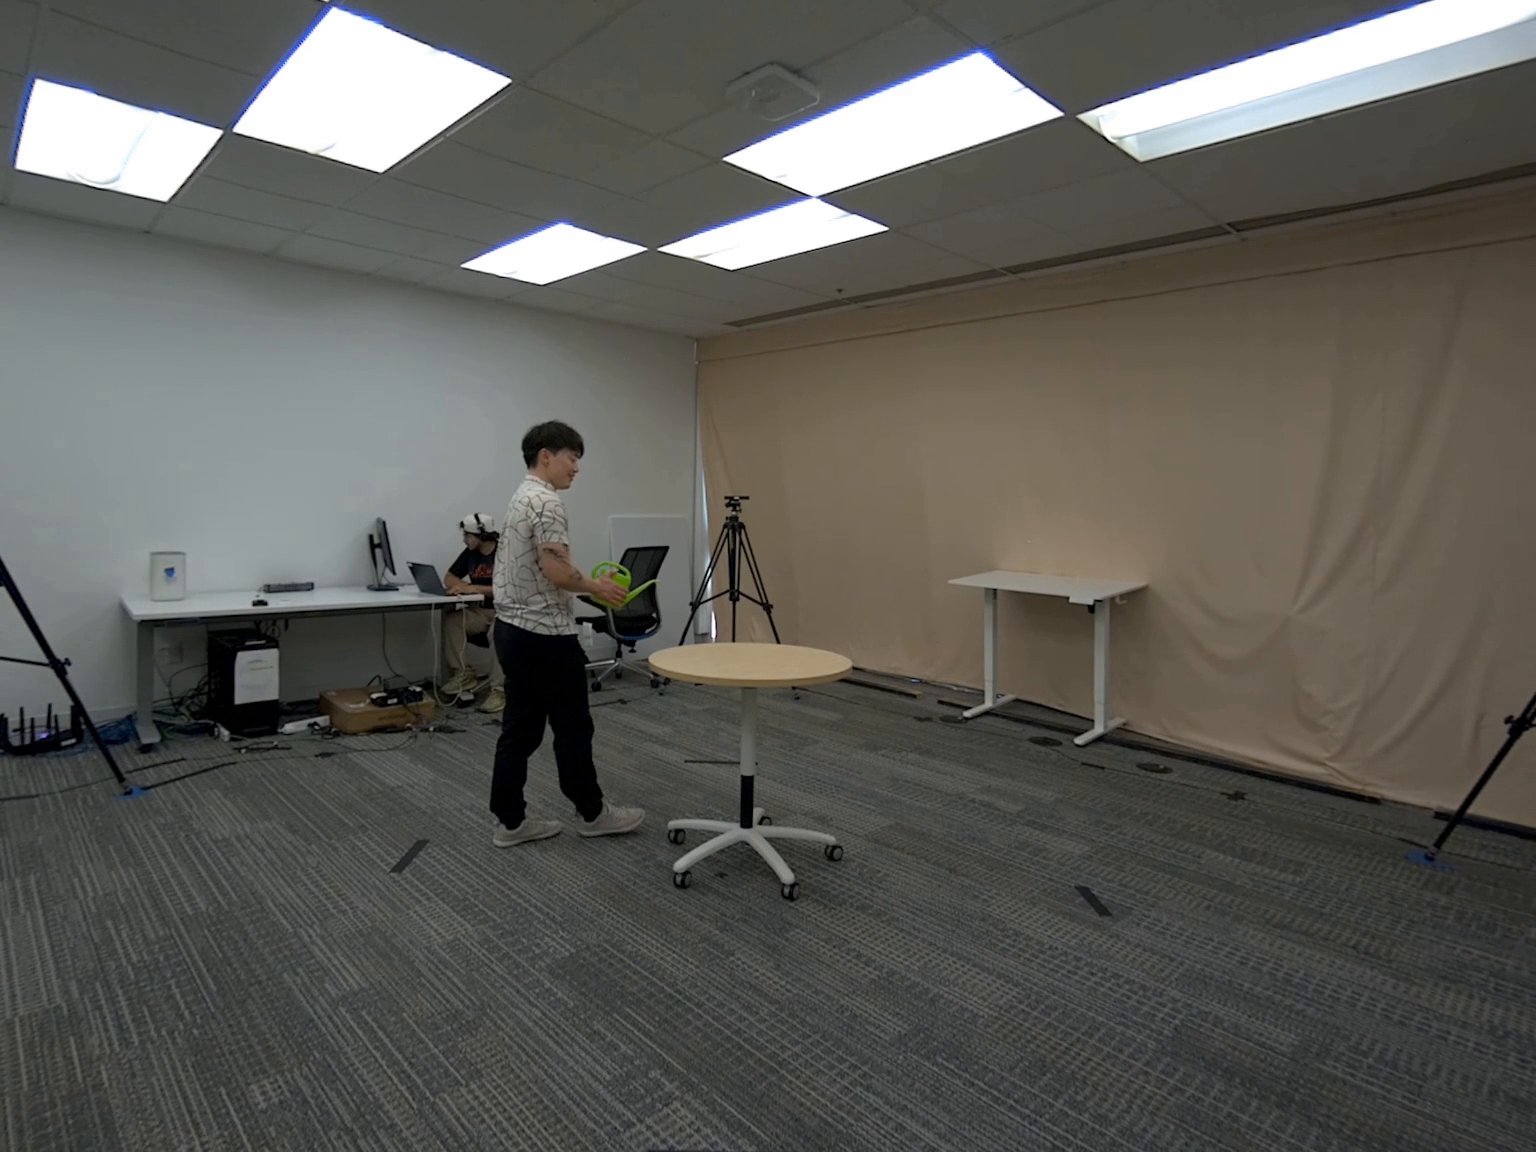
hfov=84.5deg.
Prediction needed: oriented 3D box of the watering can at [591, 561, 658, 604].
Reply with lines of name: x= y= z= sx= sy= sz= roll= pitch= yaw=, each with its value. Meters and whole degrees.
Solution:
watering can: x=-0.599 y=0.053 z=3.424 sx=0.277 sy=0.177 sz=0.098 roll=20 pitch=-6 yaw=-3
